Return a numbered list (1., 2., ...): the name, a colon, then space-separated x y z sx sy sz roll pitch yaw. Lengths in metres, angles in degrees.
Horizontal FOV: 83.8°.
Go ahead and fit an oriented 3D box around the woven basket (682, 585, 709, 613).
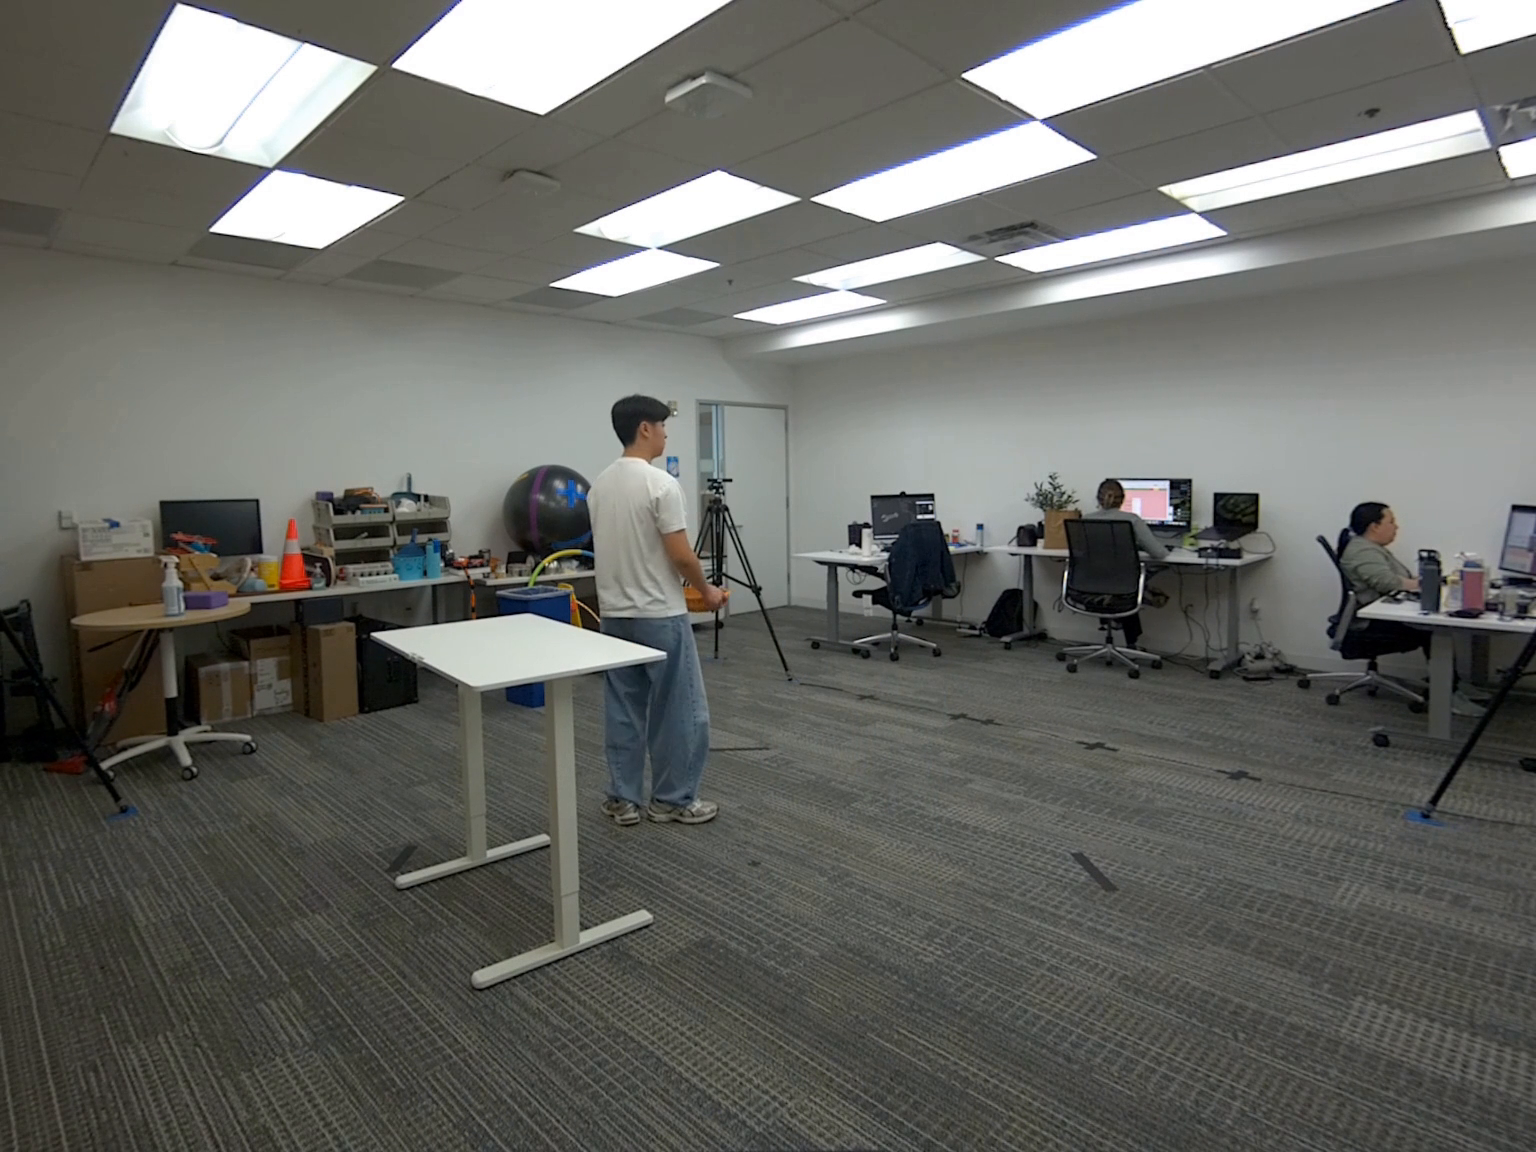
1. woven basket: -0.349 0.106 3.743 0.246 0.073 0.361 -9 10 -44
